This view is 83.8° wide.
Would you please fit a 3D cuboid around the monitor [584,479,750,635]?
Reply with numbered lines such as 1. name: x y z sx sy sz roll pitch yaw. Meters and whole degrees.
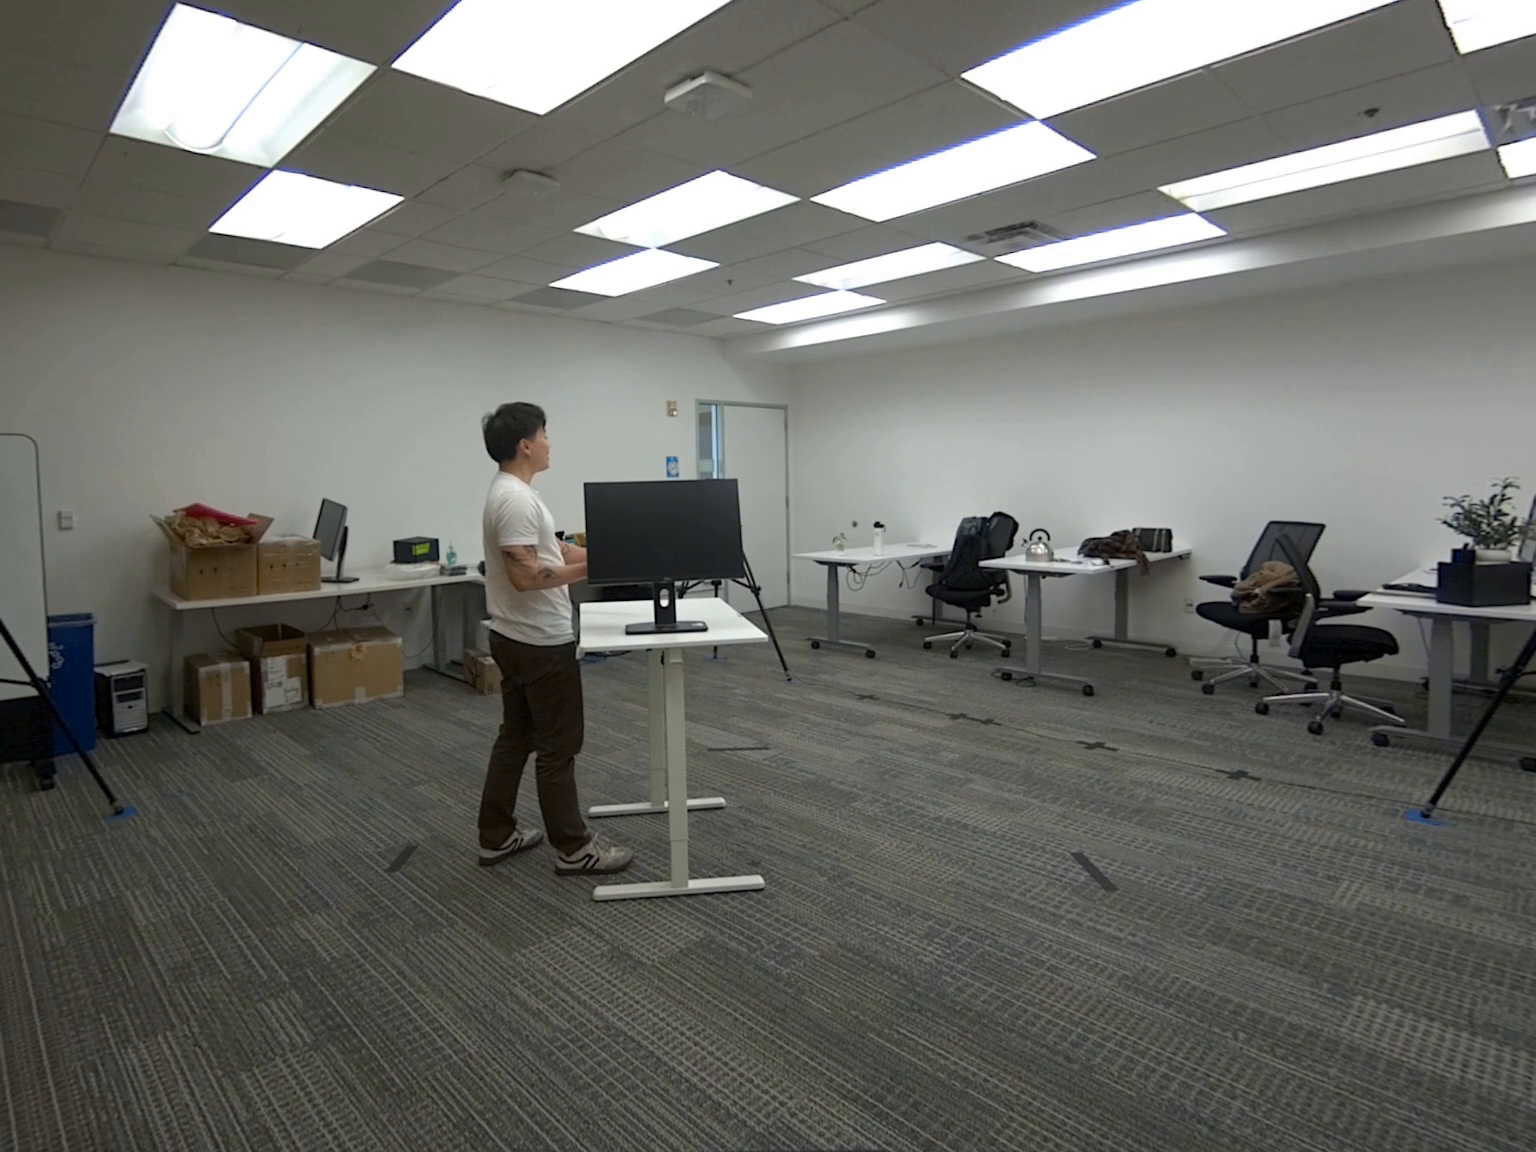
1. monitor: -0.361 -0.069 2.948 0.532 0.522 0.189 -2 0 -13
